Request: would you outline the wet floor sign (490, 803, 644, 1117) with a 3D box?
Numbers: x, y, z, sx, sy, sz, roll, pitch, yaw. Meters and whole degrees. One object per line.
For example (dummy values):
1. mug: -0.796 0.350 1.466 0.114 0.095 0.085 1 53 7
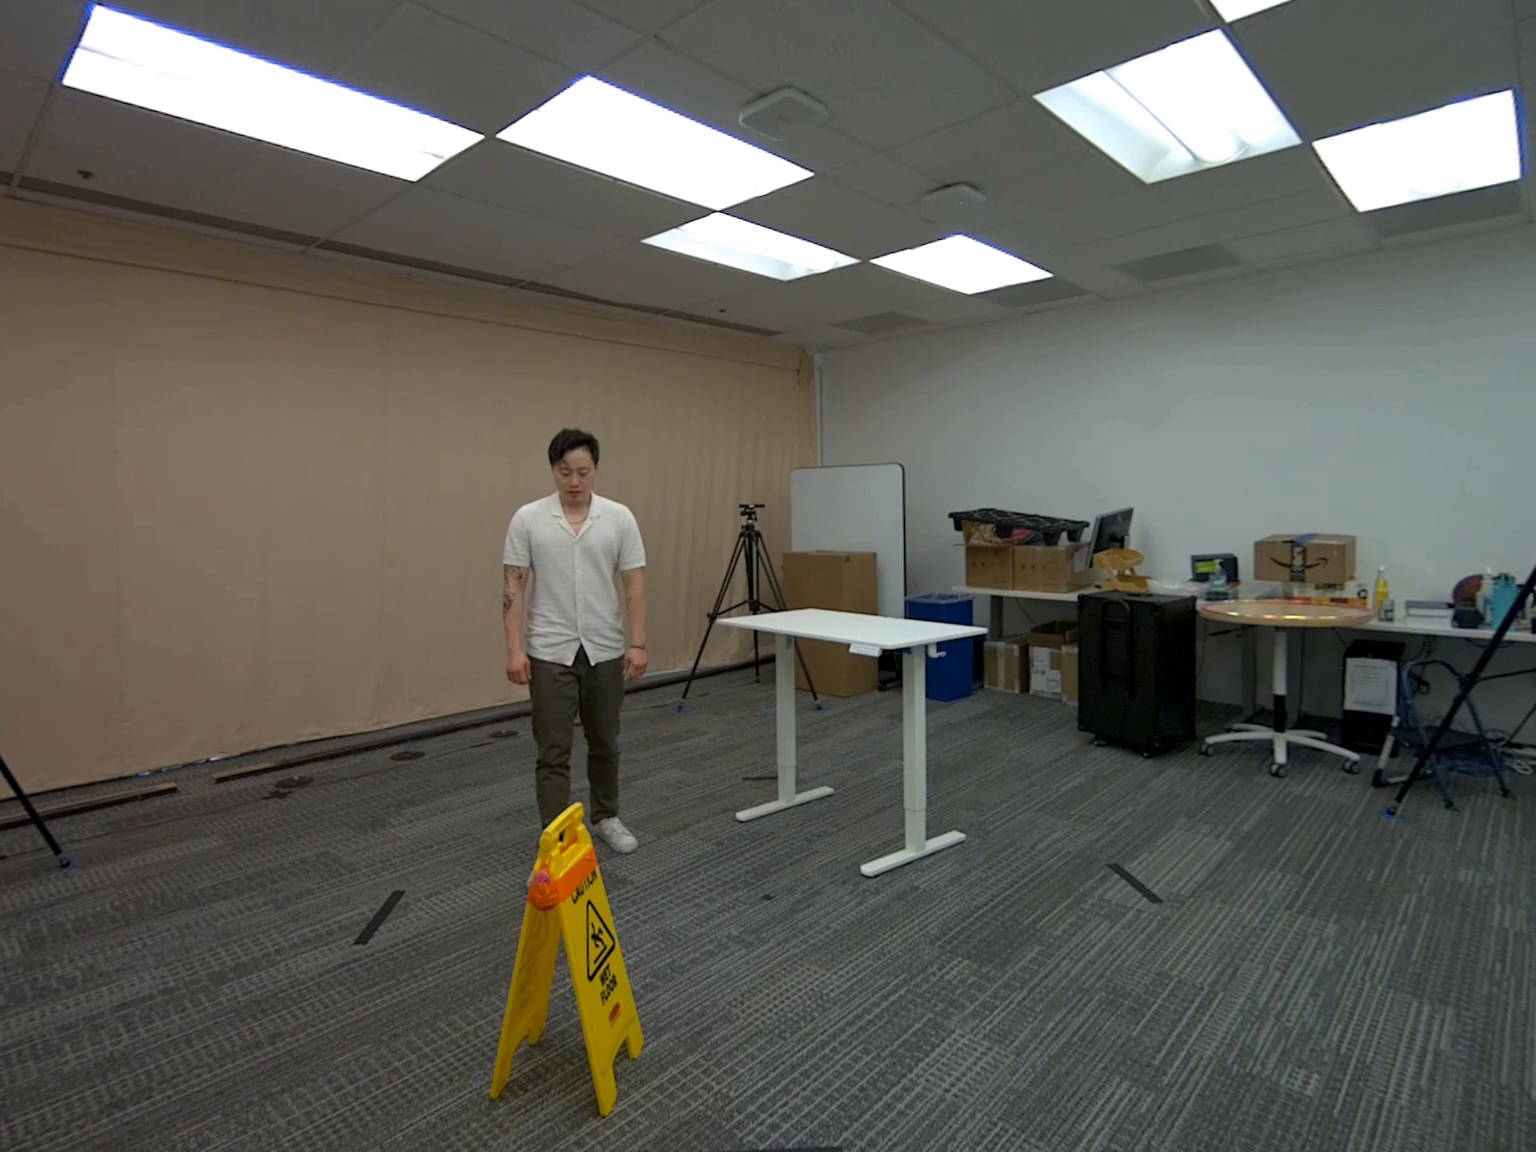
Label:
1. wet floor sign: -0.501 0.902 2.056 0.294 0.646 0.279 0 1 11
